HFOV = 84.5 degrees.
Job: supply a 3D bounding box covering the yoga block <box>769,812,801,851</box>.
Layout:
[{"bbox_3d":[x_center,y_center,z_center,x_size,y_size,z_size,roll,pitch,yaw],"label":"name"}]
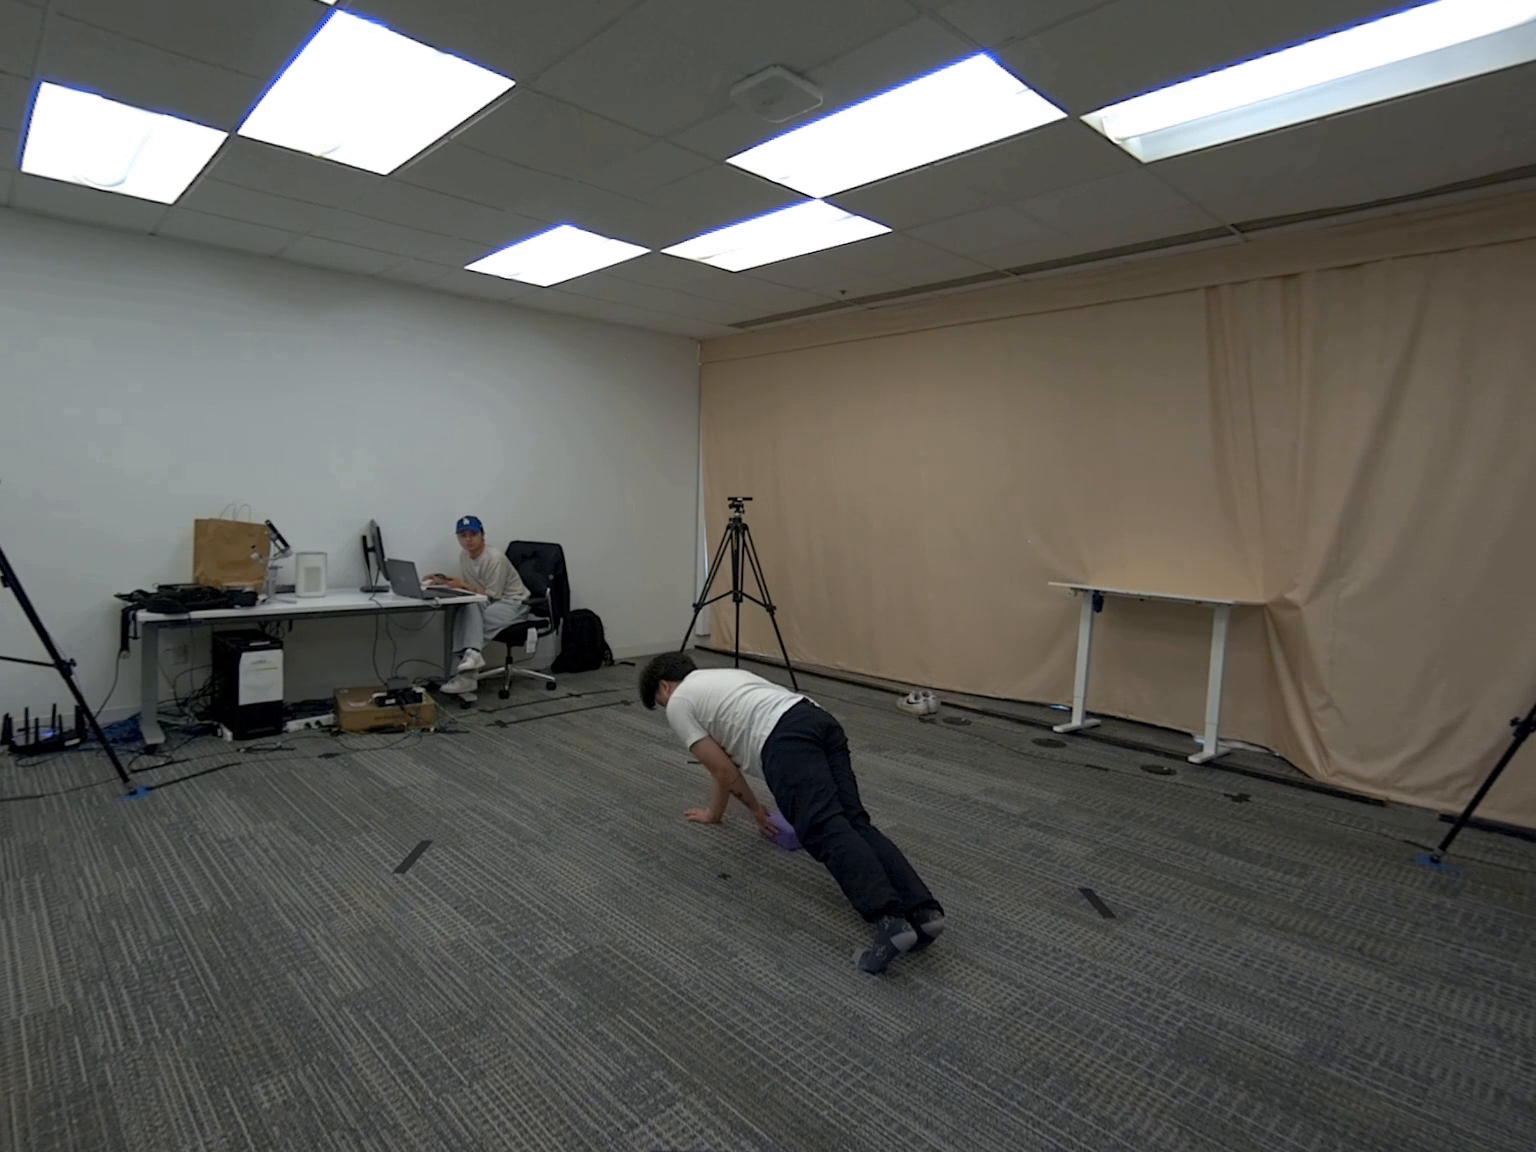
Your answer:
[{"bbox_3d":[0.073,1.043,3.464,0.146,0.076,0.234,0,4,-30],"label":"yoga block"}]
